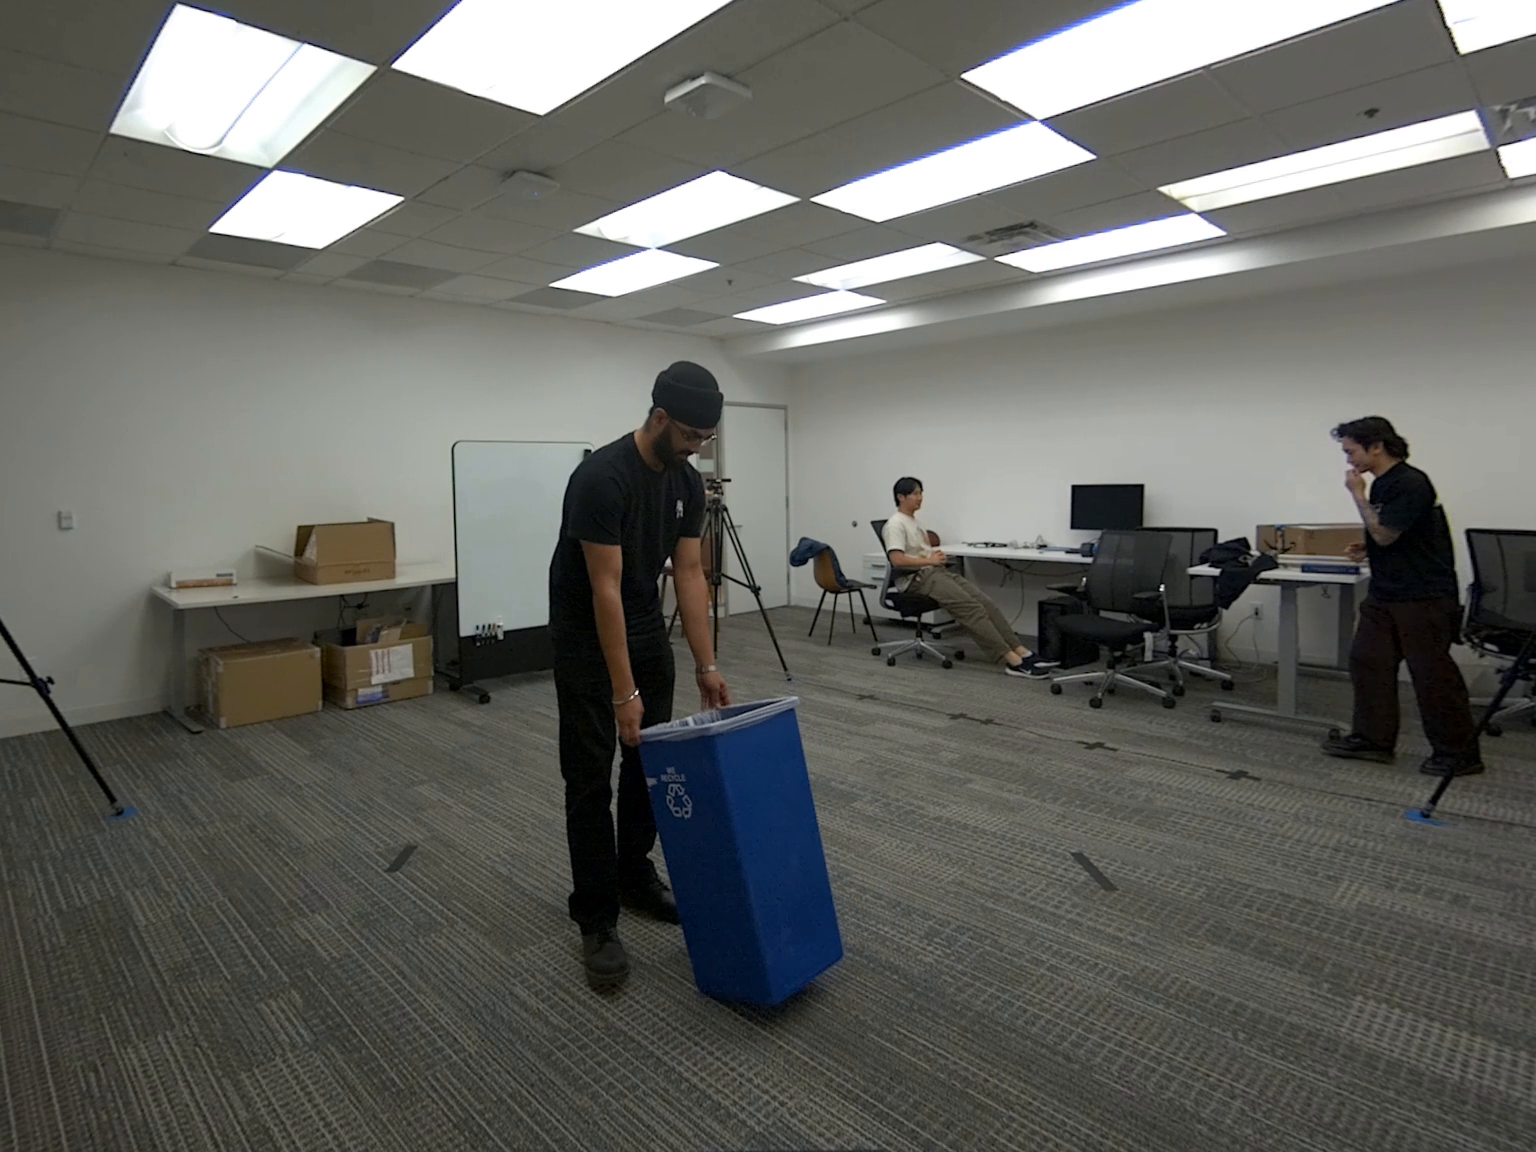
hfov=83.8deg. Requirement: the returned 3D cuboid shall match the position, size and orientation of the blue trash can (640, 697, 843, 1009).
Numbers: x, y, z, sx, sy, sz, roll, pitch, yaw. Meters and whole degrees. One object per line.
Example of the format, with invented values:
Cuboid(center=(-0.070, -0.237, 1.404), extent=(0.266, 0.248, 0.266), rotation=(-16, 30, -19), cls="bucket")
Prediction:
Cuboid(center=(-0.078, 0.743, 2.388), extent=(0.368, 0.719, 0.381), rotation=(-6, -9, -46), cls="blue trash can")
